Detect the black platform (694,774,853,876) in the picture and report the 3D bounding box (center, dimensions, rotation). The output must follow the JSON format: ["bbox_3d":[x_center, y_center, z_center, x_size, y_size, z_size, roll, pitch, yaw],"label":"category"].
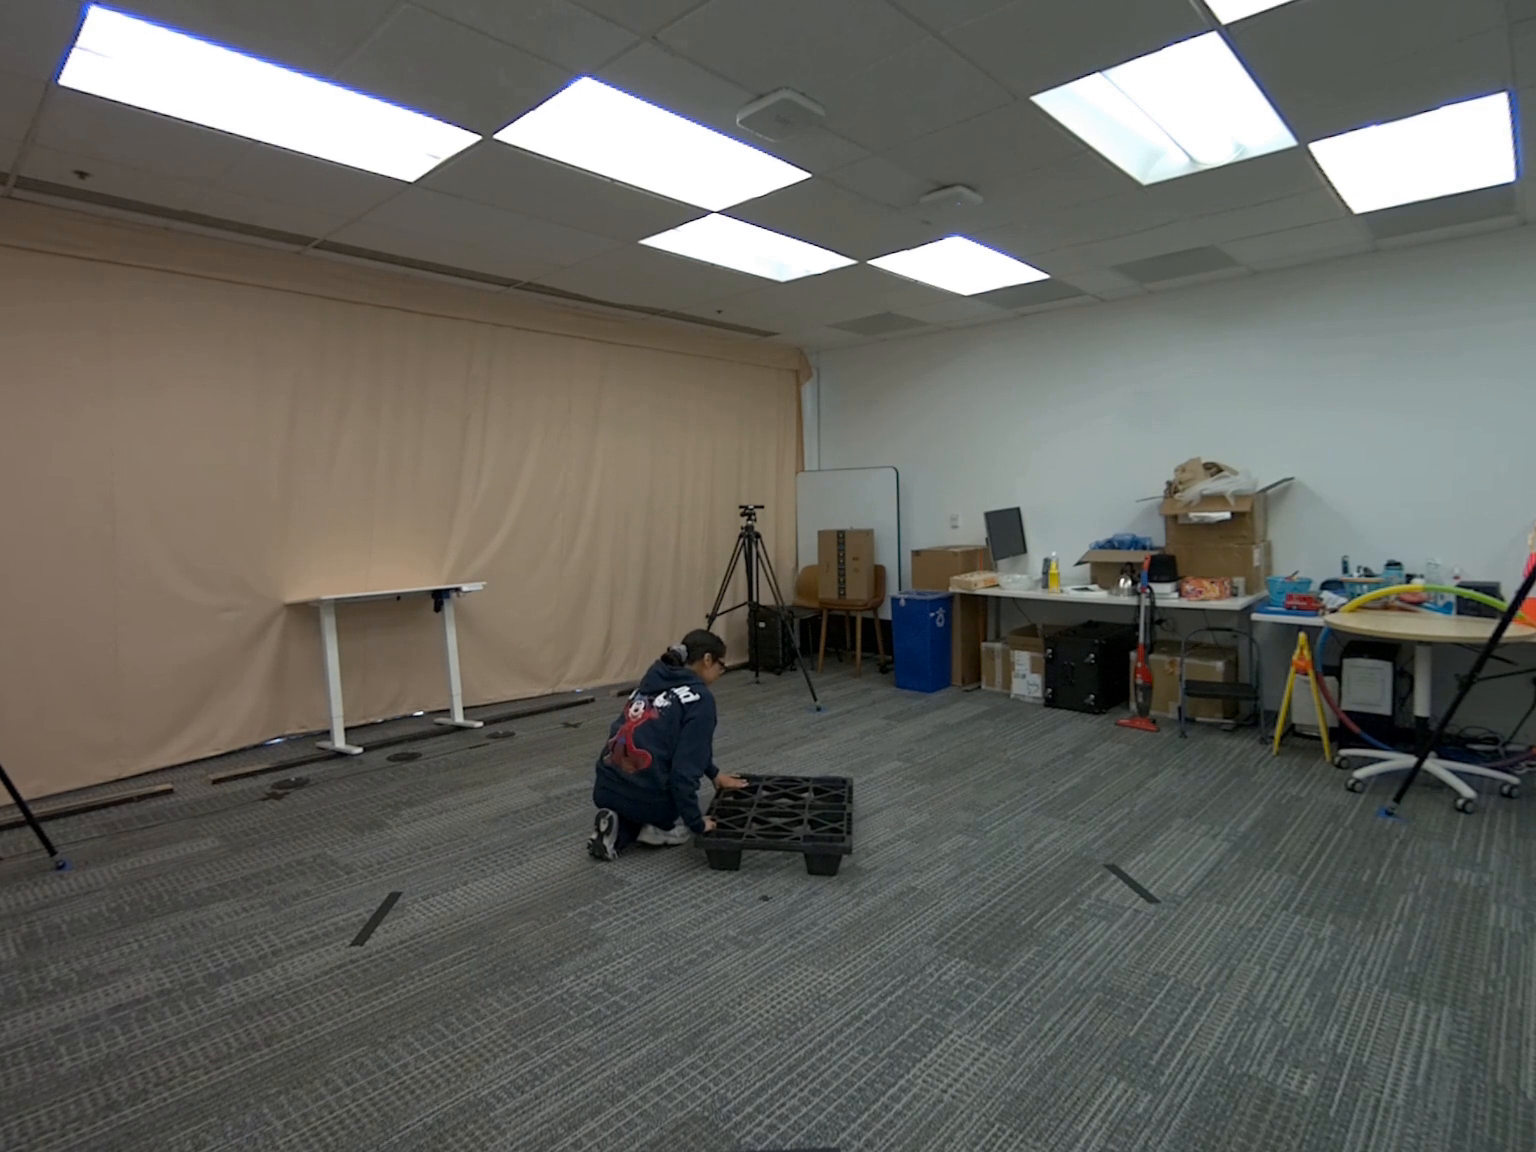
[{"bbox_3d":[0.055,1.027,3.526,0.611,0.143,0.800,-1,5,7],"label":"black platform"}]
